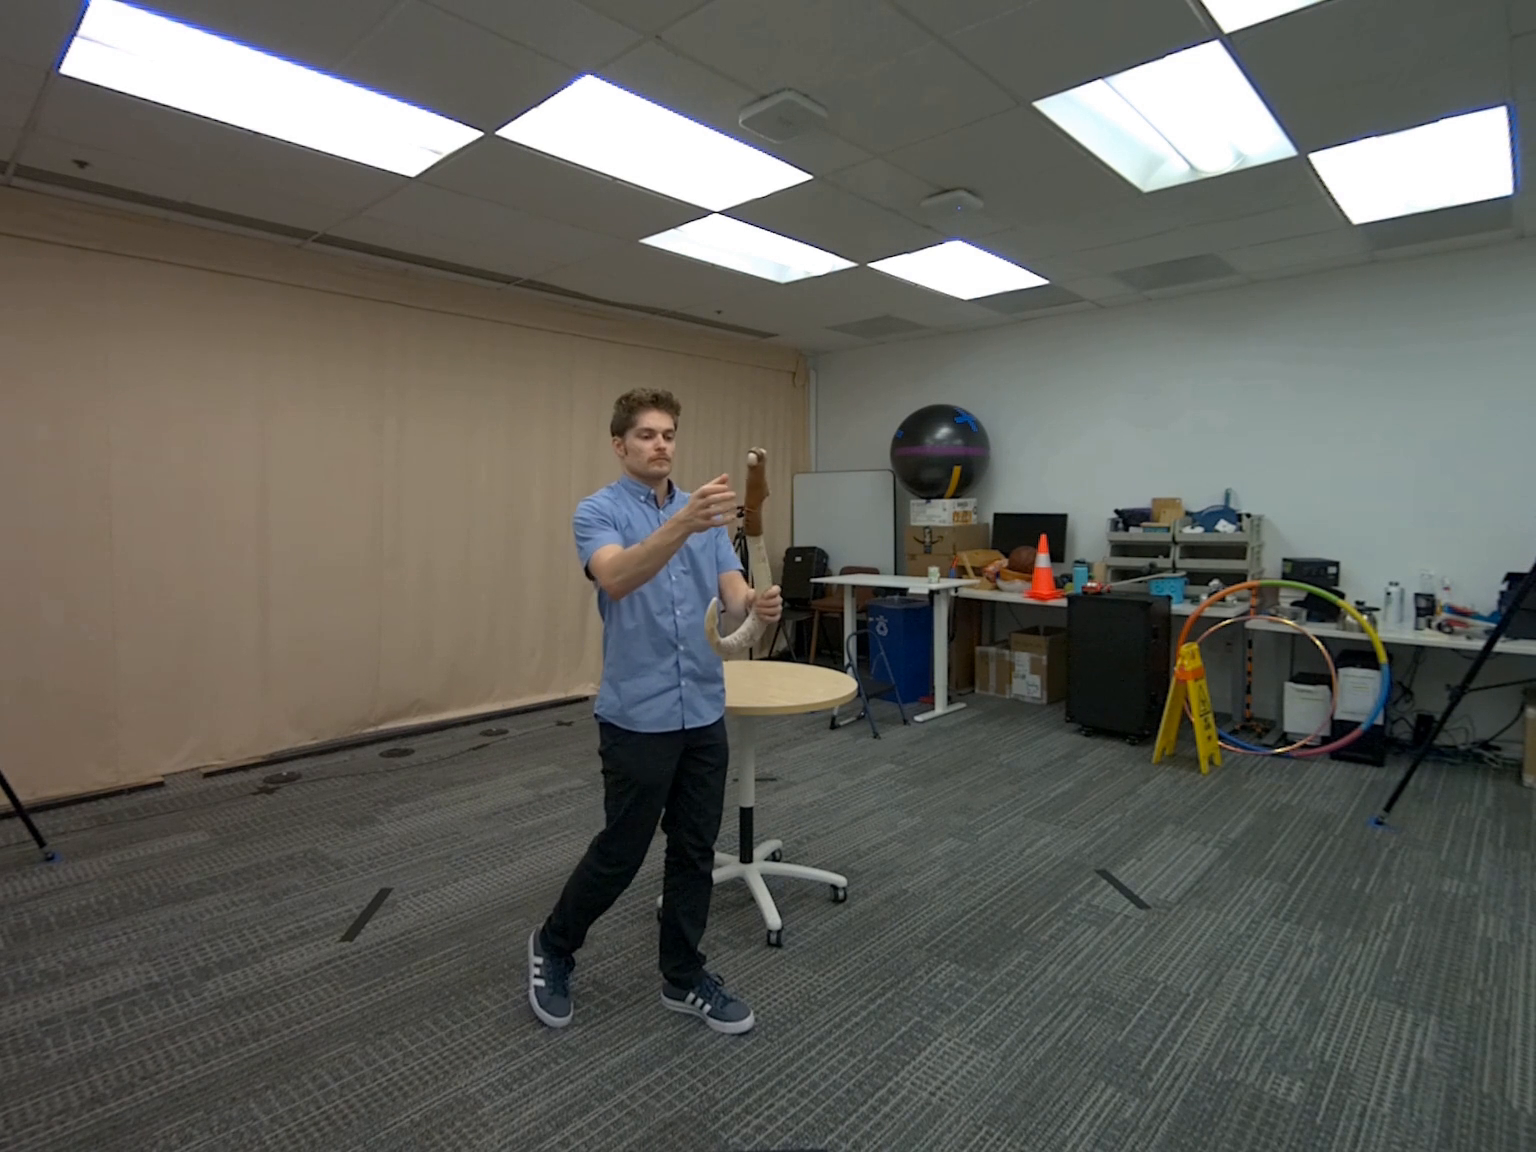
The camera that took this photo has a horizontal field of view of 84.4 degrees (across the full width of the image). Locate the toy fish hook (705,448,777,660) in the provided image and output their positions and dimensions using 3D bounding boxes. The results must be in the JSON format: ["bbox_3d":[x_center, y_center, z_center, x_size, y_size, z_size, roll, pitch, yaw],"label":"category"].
[{"bbox_3d":[-0.065,-0.030,1.850,0.050,0.500,0.220,20,31,32],"label":"toy fish hook"}]
